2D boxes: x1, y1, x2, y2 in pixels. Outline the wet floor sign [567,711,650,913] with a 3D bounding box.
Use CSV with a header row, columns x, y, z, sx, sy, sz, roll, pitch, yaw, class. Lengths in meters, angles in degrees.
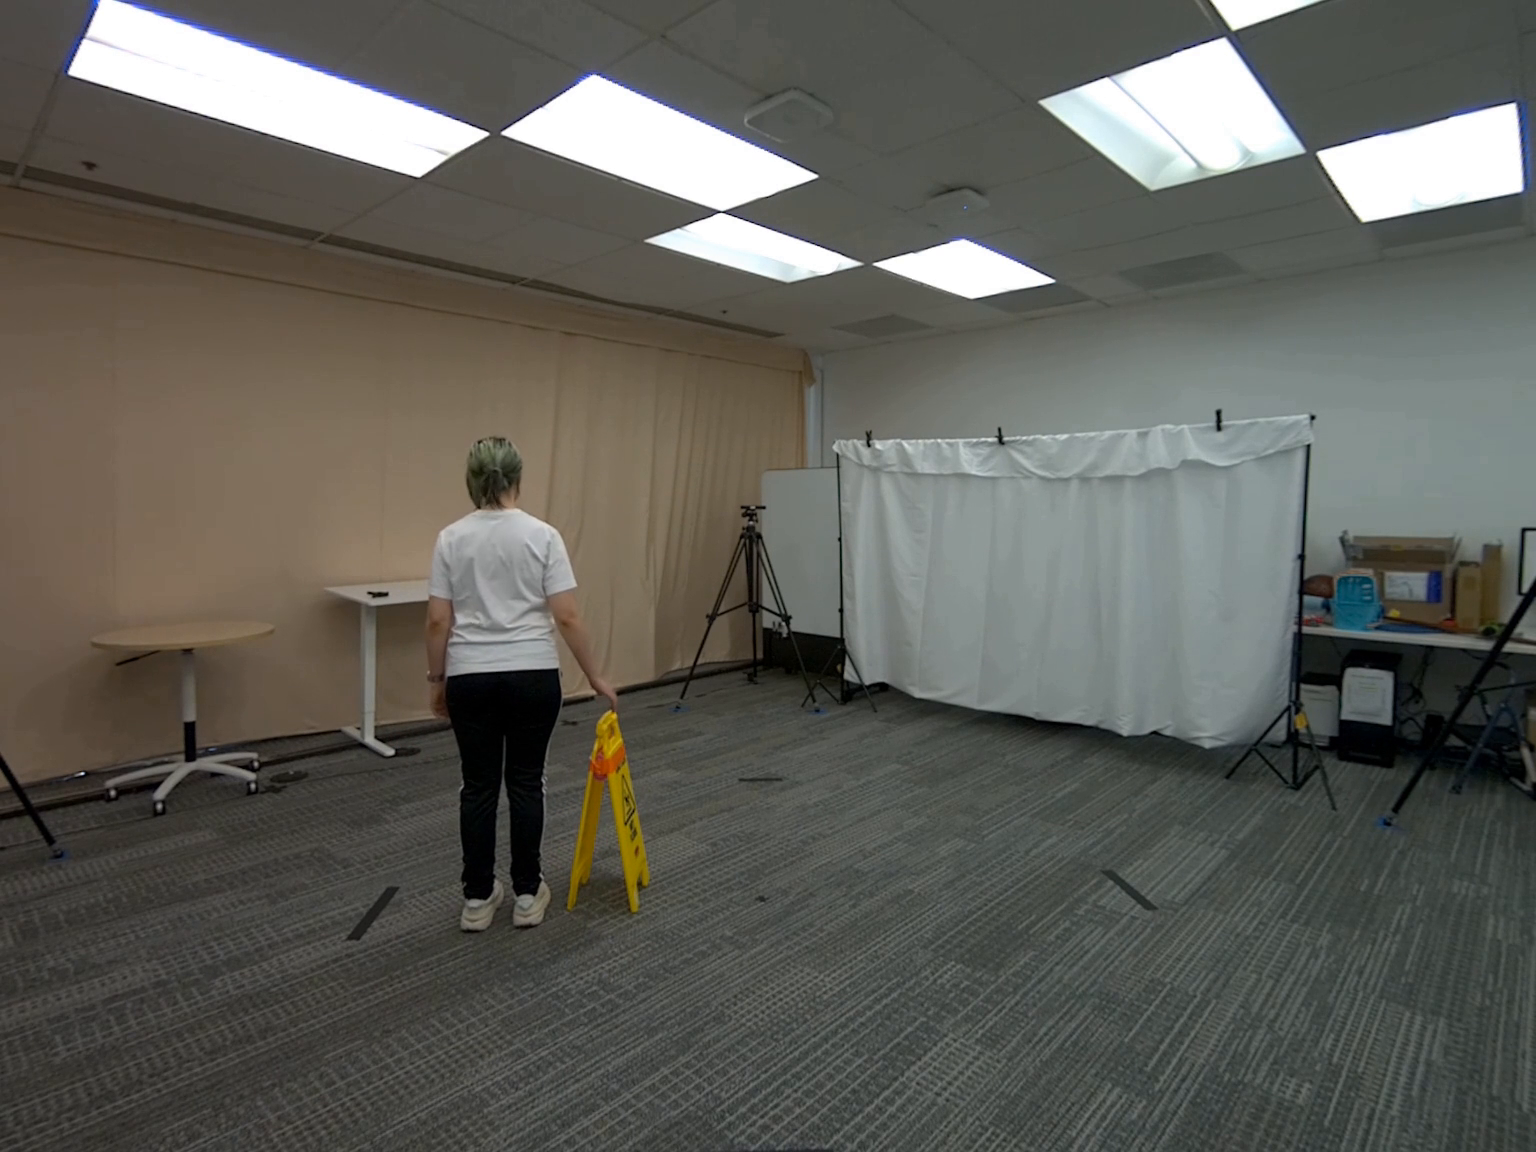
x,y,z,sx,sy,sz,roll,pitch,yaw,class
-0.569,0.817,3.012,0.291,0.644,0.282,1,5,3,wet floor sign
